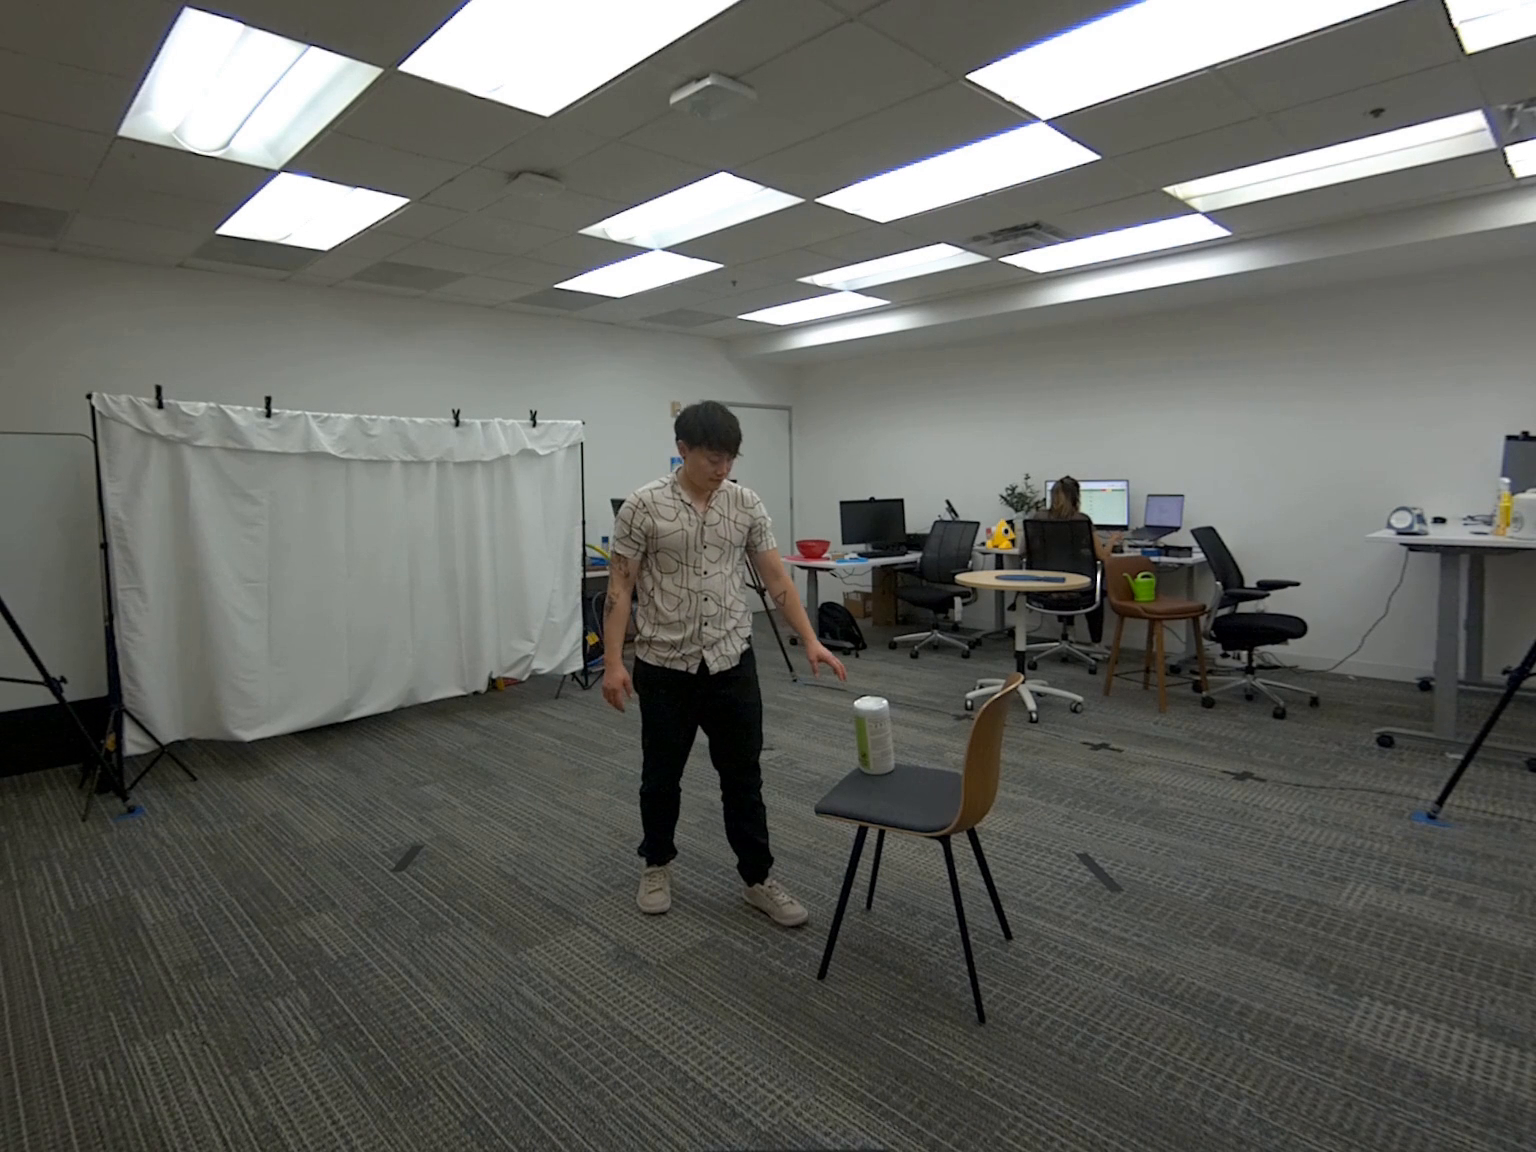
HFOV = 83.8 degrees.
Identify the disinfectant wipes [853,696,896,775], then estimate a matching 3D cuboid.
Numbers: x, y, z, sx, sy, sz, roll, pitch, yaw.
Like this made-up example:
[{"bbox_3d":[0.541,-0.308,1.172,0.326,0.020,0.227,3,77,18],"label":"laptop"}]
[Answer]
[{"bbox_3d":[0.330,0.494,2.644,0.118,0.216,0.119,-6,8,-1],"label":"disinfectant wipes"}]
